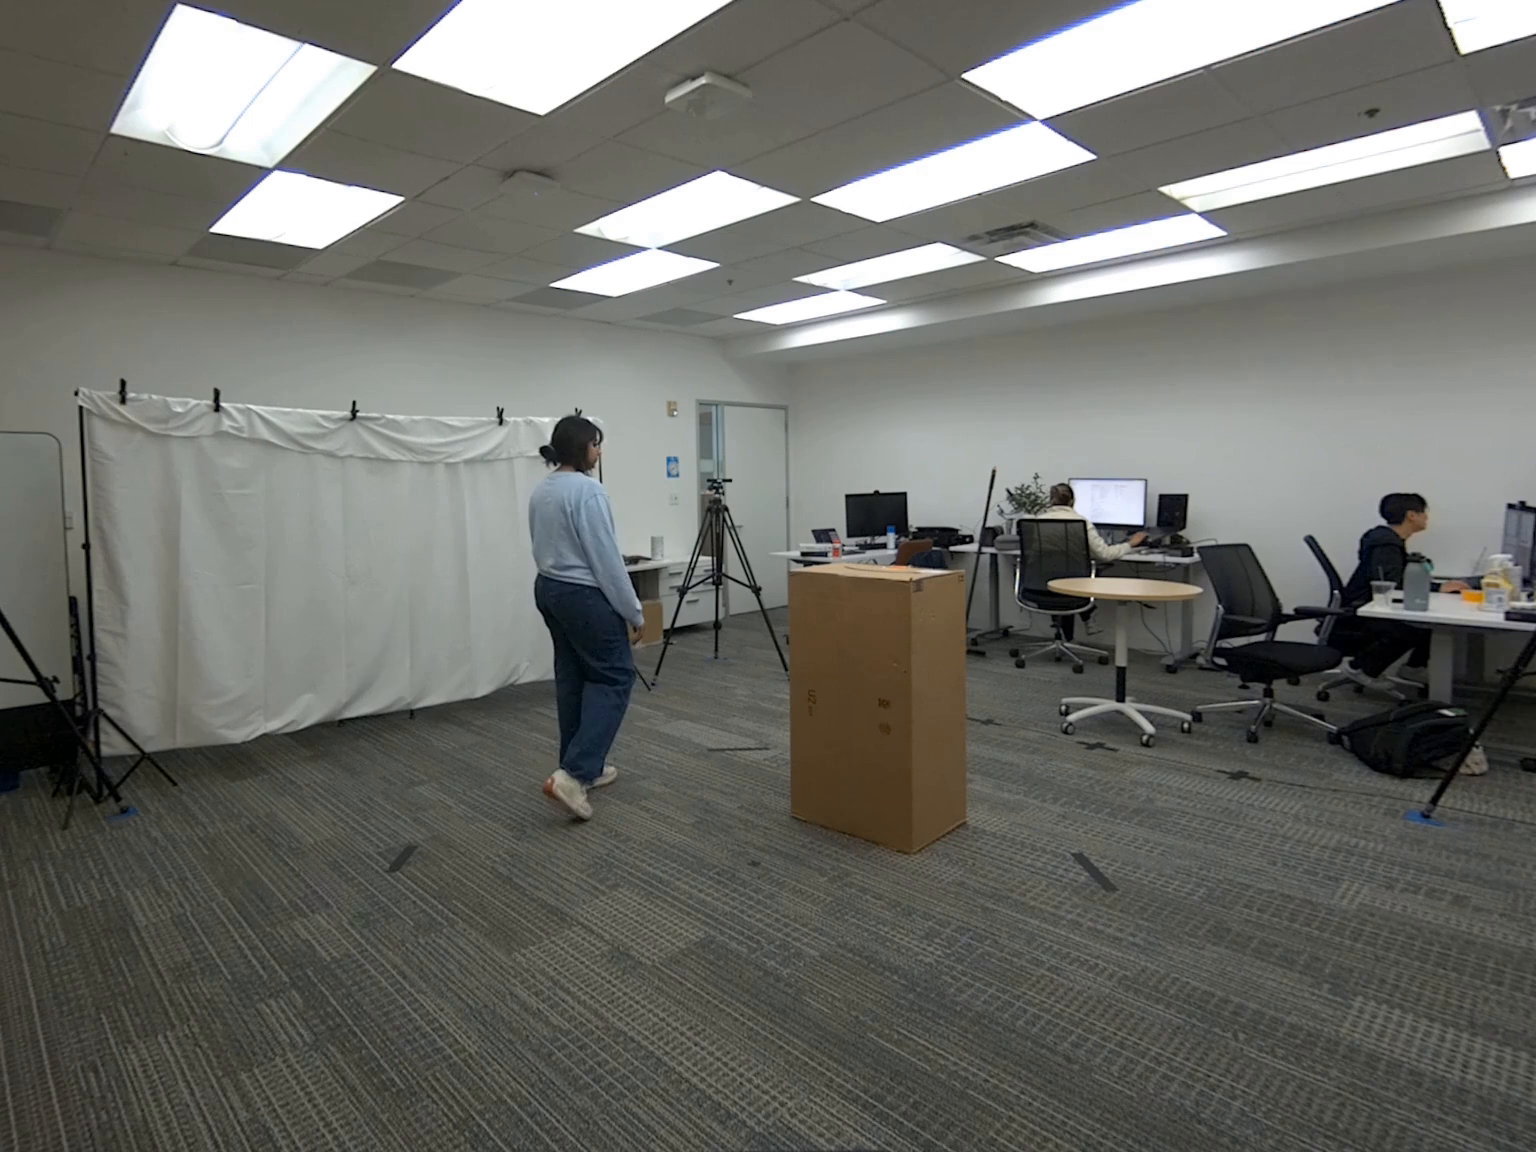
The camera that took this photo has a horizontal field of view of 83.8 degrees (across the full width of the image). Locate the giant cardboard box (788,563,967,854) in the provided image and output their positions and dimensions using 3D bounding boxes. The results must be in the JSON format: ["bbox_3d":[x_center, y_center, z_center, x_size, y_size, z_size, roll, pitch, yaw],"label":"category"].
[{"bbox_3d":[0.445,0.489,3.464,0.595,1.022,0.415,3,5,42],"label":"giant cardboard box"}]
